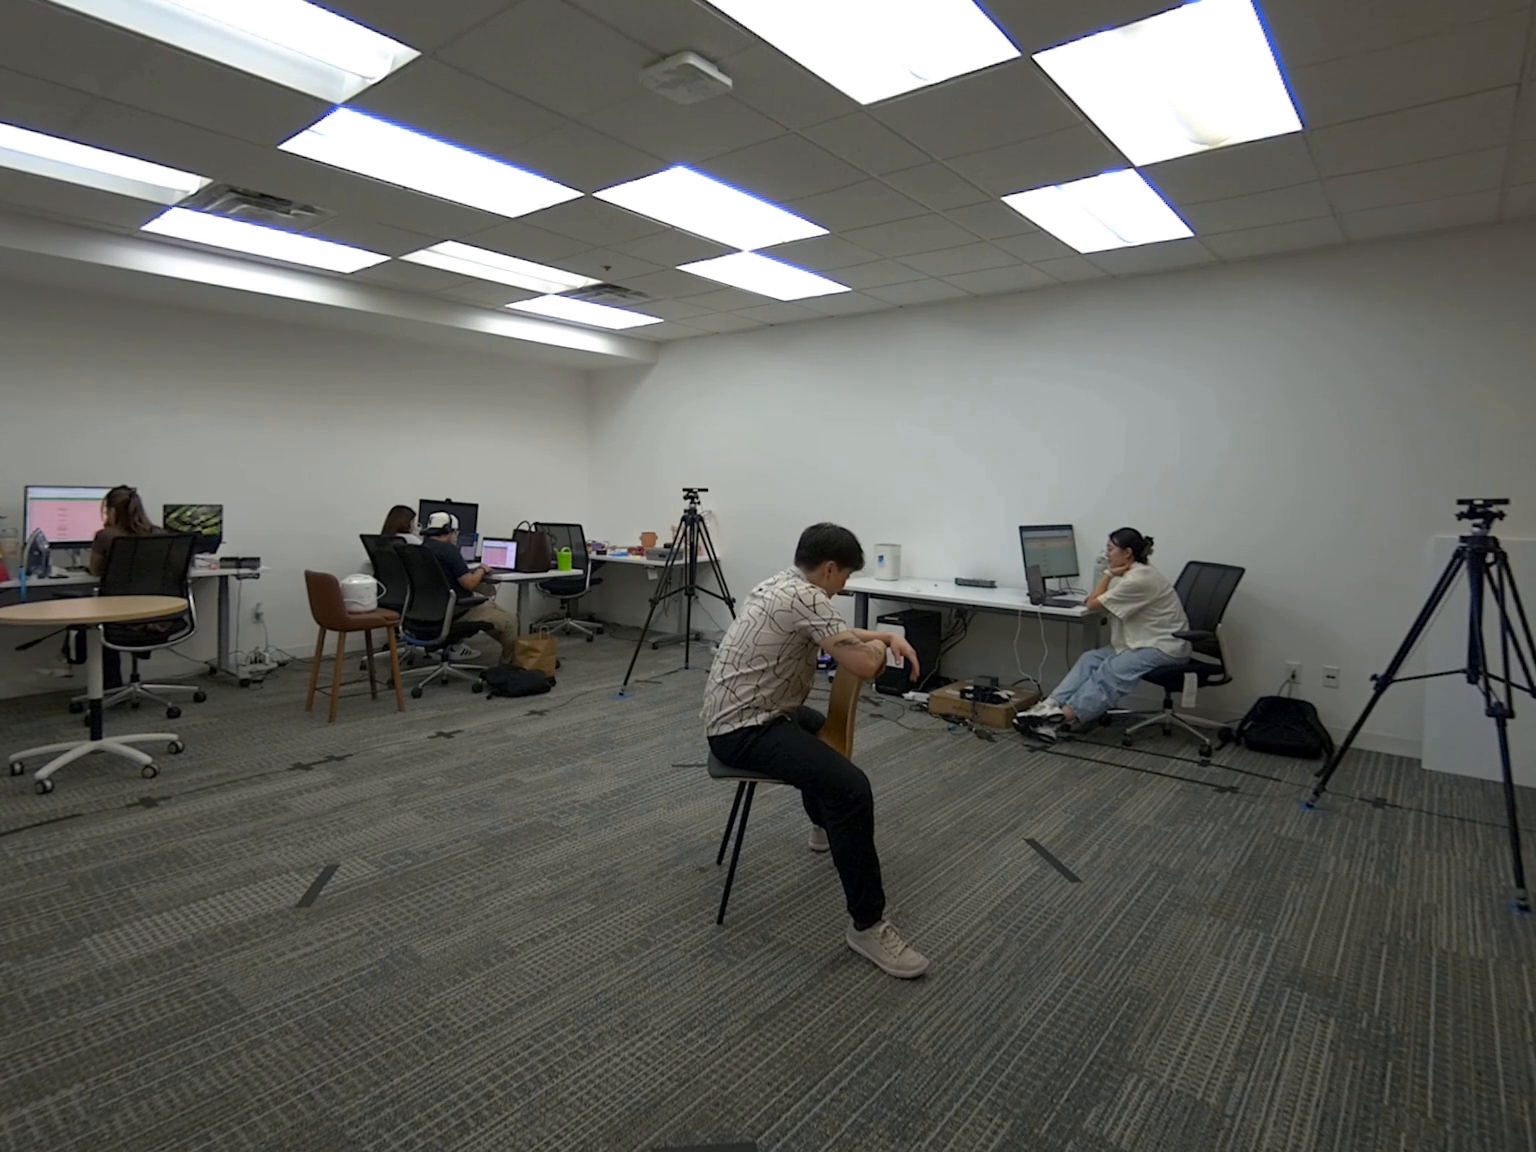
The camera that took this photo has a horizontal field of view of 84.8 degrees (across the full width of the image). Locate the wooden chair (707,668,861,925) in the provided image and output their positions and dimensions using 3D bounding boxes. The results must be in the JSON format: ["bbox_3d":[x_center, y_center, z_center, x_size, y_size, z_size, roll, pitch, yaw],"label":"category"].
[{"bbox_3d":[0.043,0.677,2.913,0.522,0.875,0.480,6,3,-3],"label":"wooden chair"}]
